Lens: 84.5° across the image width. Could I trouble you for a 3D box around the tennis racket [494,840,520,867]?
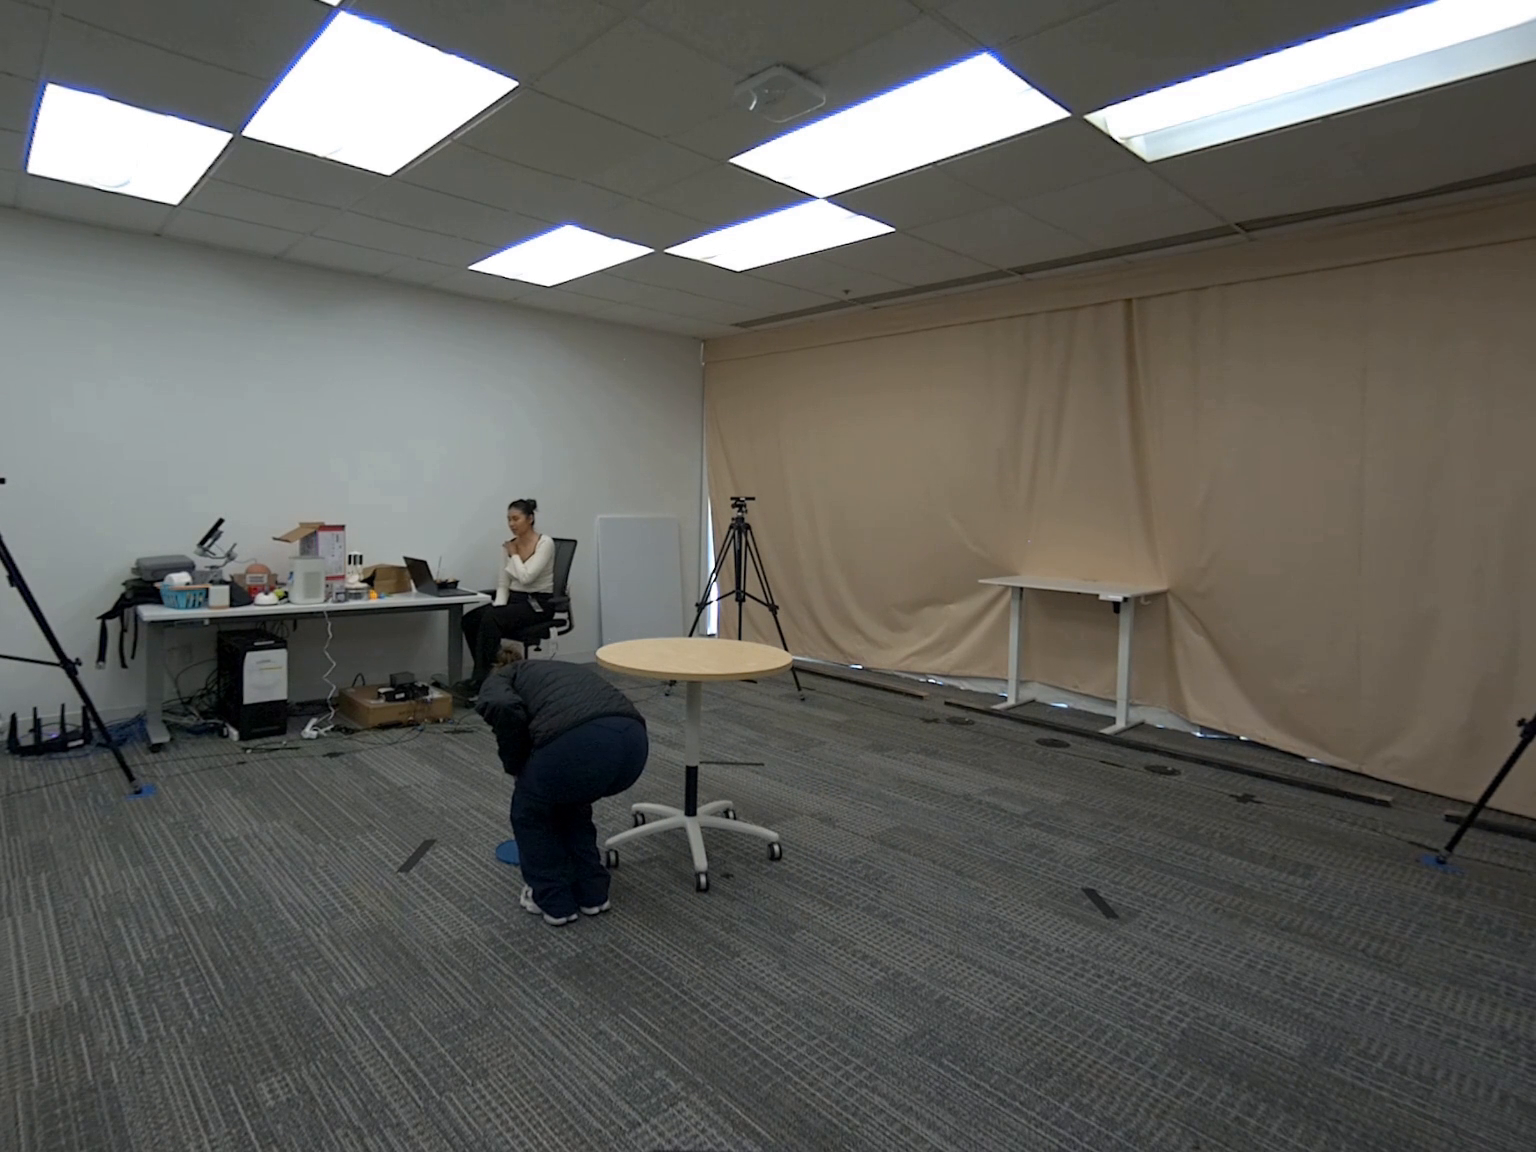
[{"bbox_3d":[-0.886,1.069,3.179,0.209,0.032,0.444,-4,6,-42],"label":"tennis racket"}]
